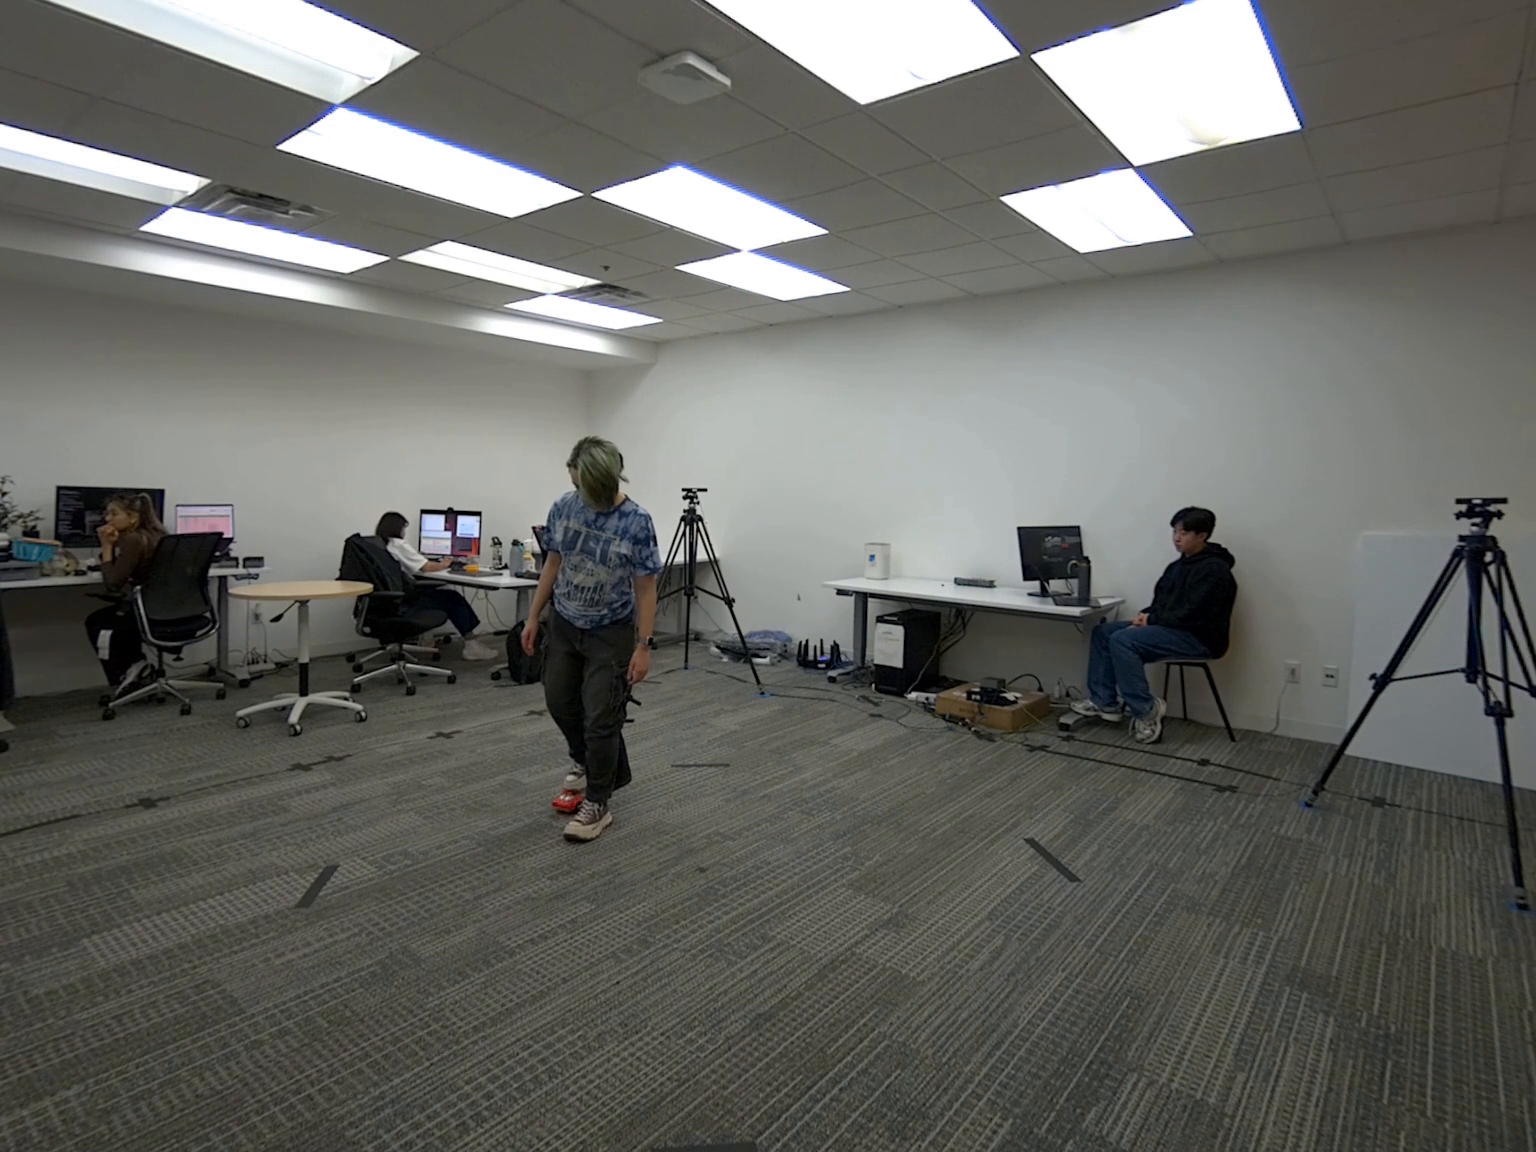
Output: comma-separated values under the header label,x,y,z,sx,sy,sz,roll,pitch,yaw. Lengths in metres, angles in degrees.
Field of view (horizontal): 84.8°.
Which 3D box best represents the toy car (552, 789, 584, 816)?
label,x,y,z,sx,sy,sz,roll,pitch,yaw
toy car,-0.857,0.973,3.702,0.134,0.083,0.247,3,-5,24
